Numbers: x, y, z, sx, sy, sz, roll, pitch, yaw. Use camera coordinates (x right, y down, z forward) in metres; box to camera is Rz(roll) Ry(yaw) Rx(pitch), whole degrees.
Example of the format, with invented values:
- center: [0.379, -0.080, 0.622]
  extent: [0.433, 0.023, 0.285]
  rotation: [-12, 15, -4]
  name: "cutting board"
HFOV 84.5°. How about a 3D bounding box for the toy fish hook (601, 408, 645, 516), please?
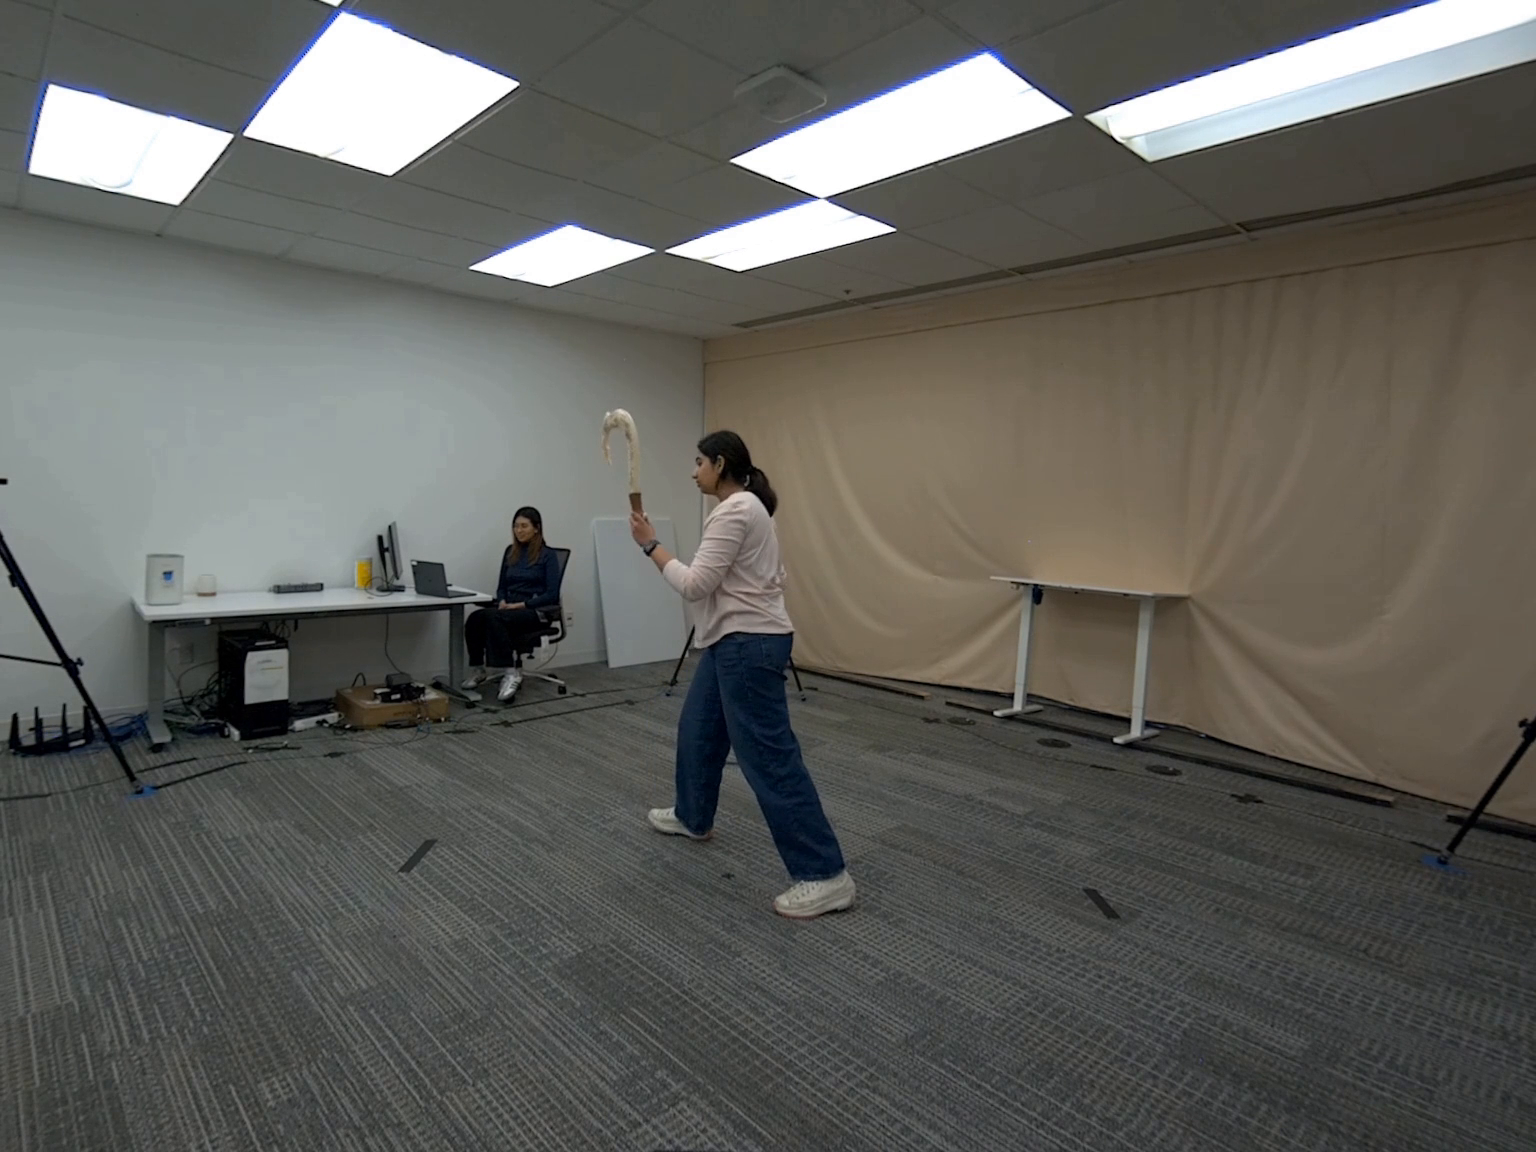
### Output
- center: [-0.532, -0.352, 3.096]
  extent: [0.047, 0.505, 0.229]
  rotation: [-11, 5, -38]
  name: "toy fish hook"
